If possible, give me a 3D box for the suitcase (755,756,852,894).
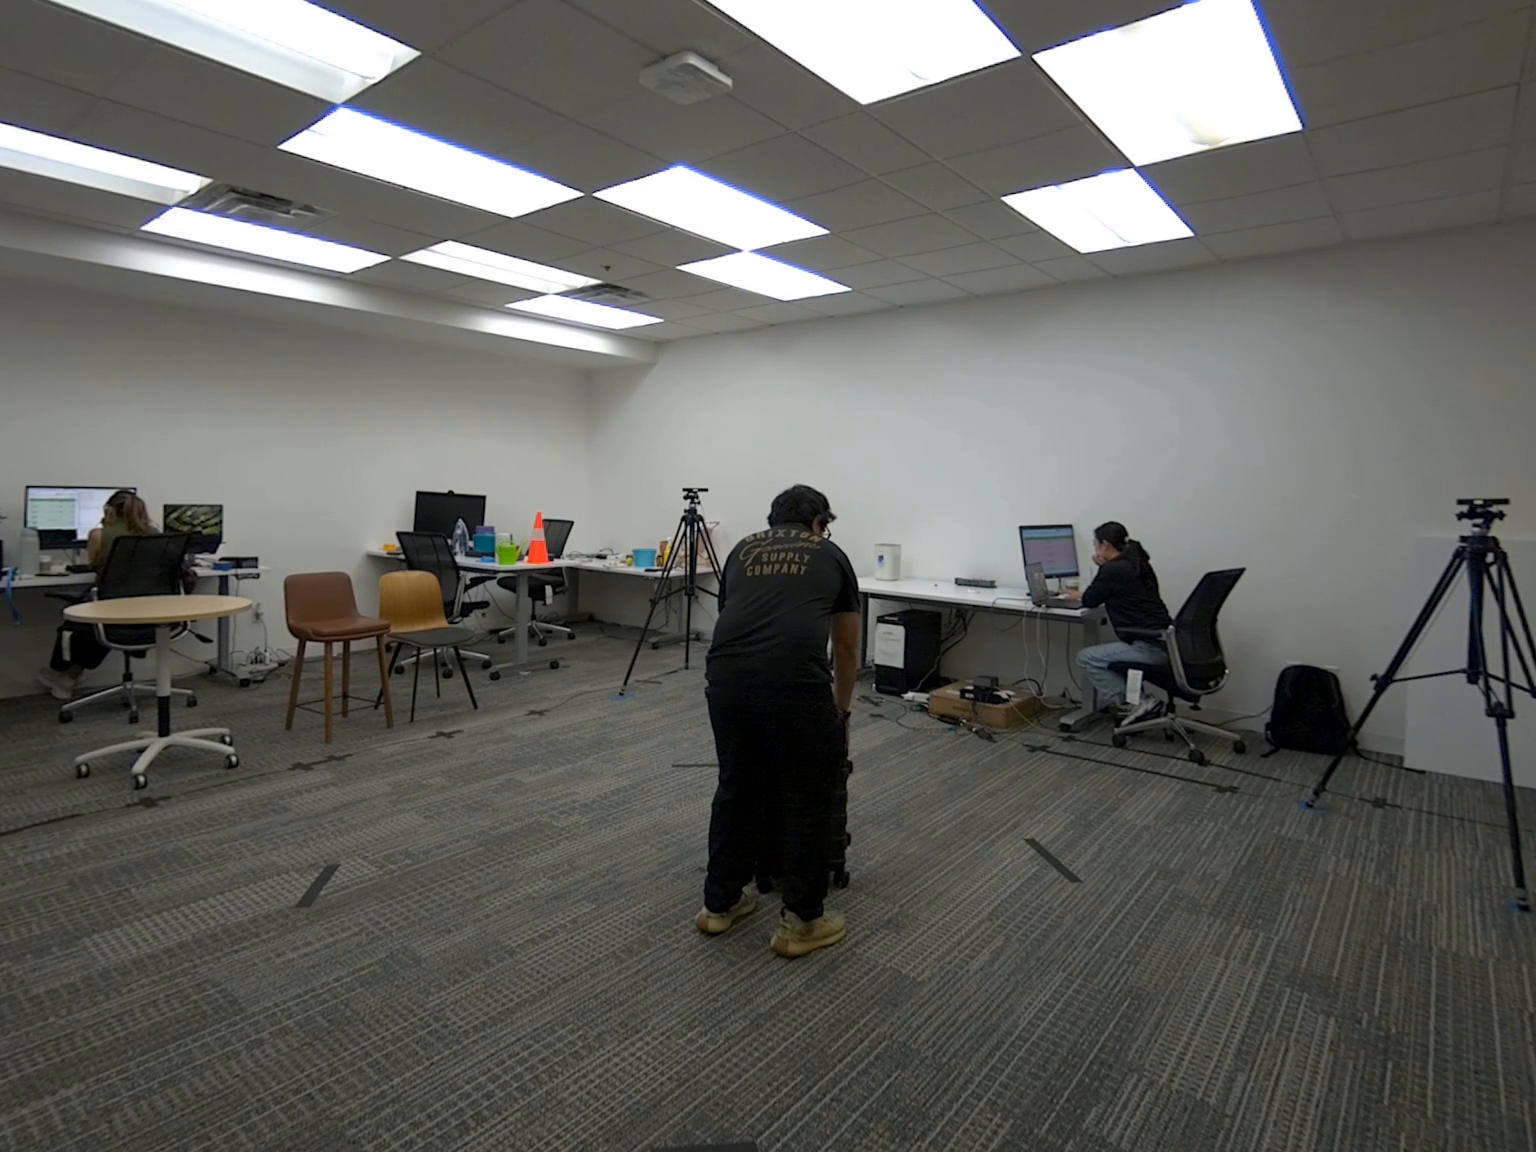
[{"bbox_3d":[0.090,0.804,3.049,0.372,0.548,0.251,0,3,-8],"label":"suitcase"}]
